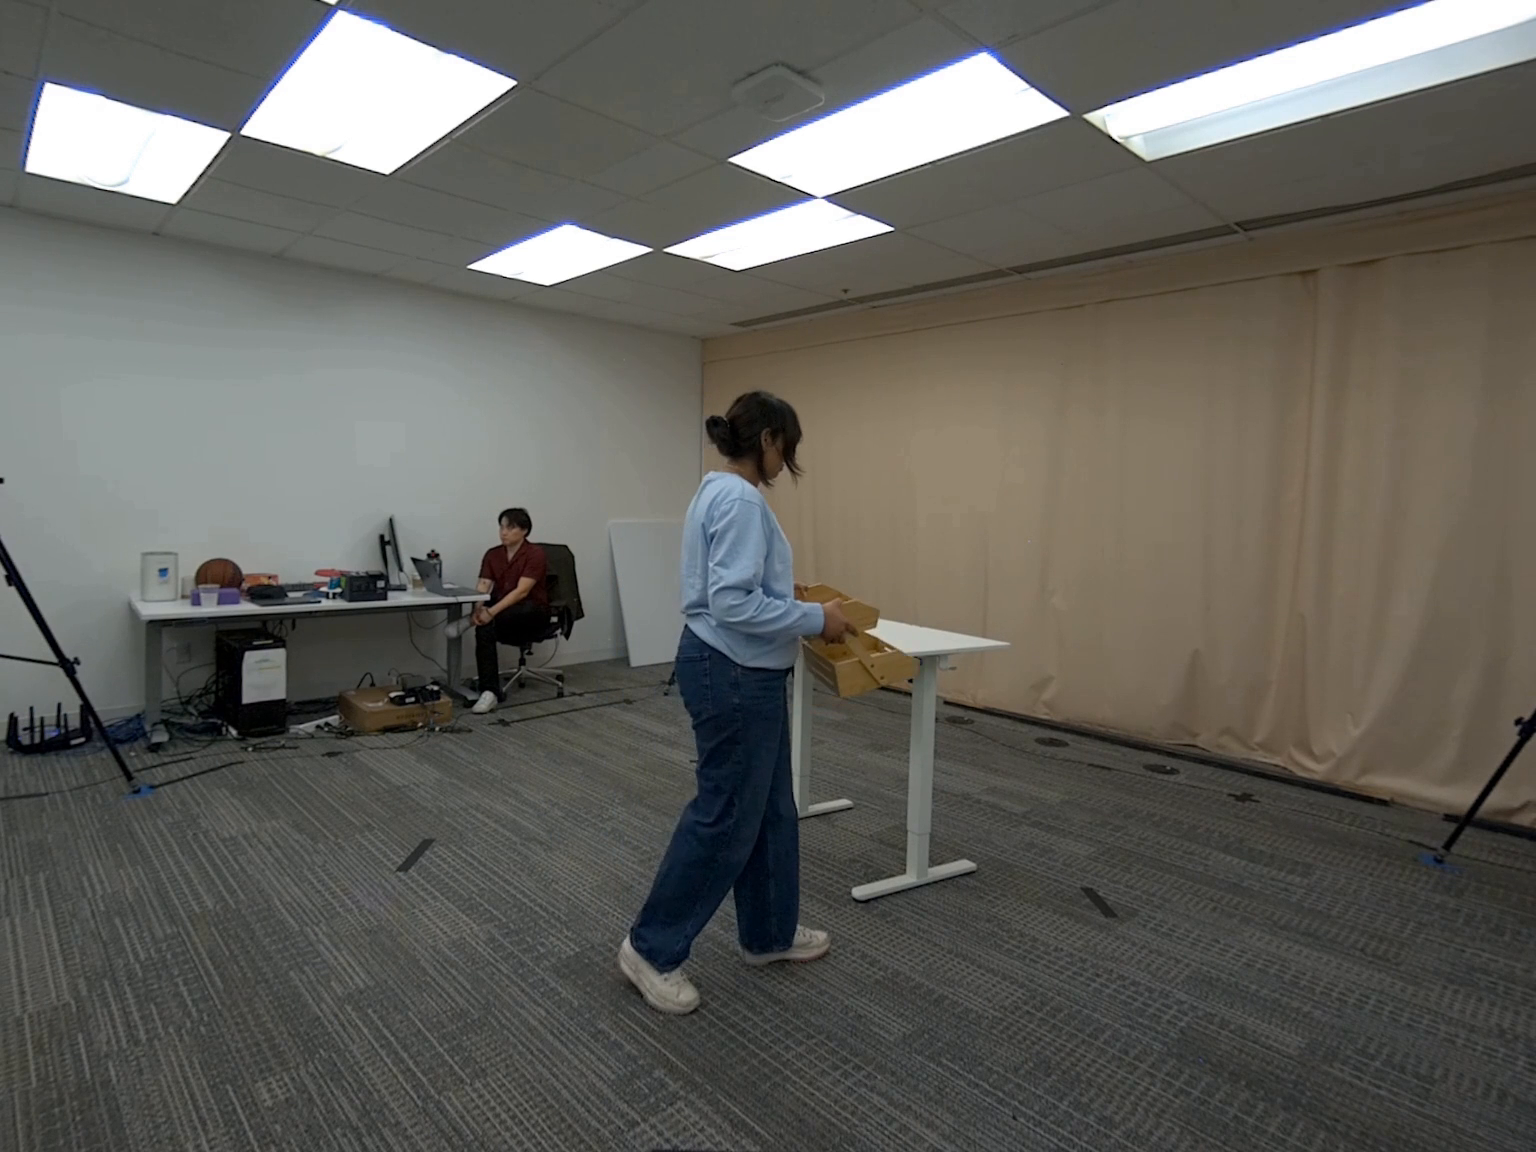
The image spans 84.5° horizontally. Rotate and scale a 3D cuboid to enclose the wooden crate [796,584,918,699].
[{"bbox_3d":[0.211,0.169,2.461,0.300,0.271,0.329,-13,10,-12],"label":"wooden crate"}]
